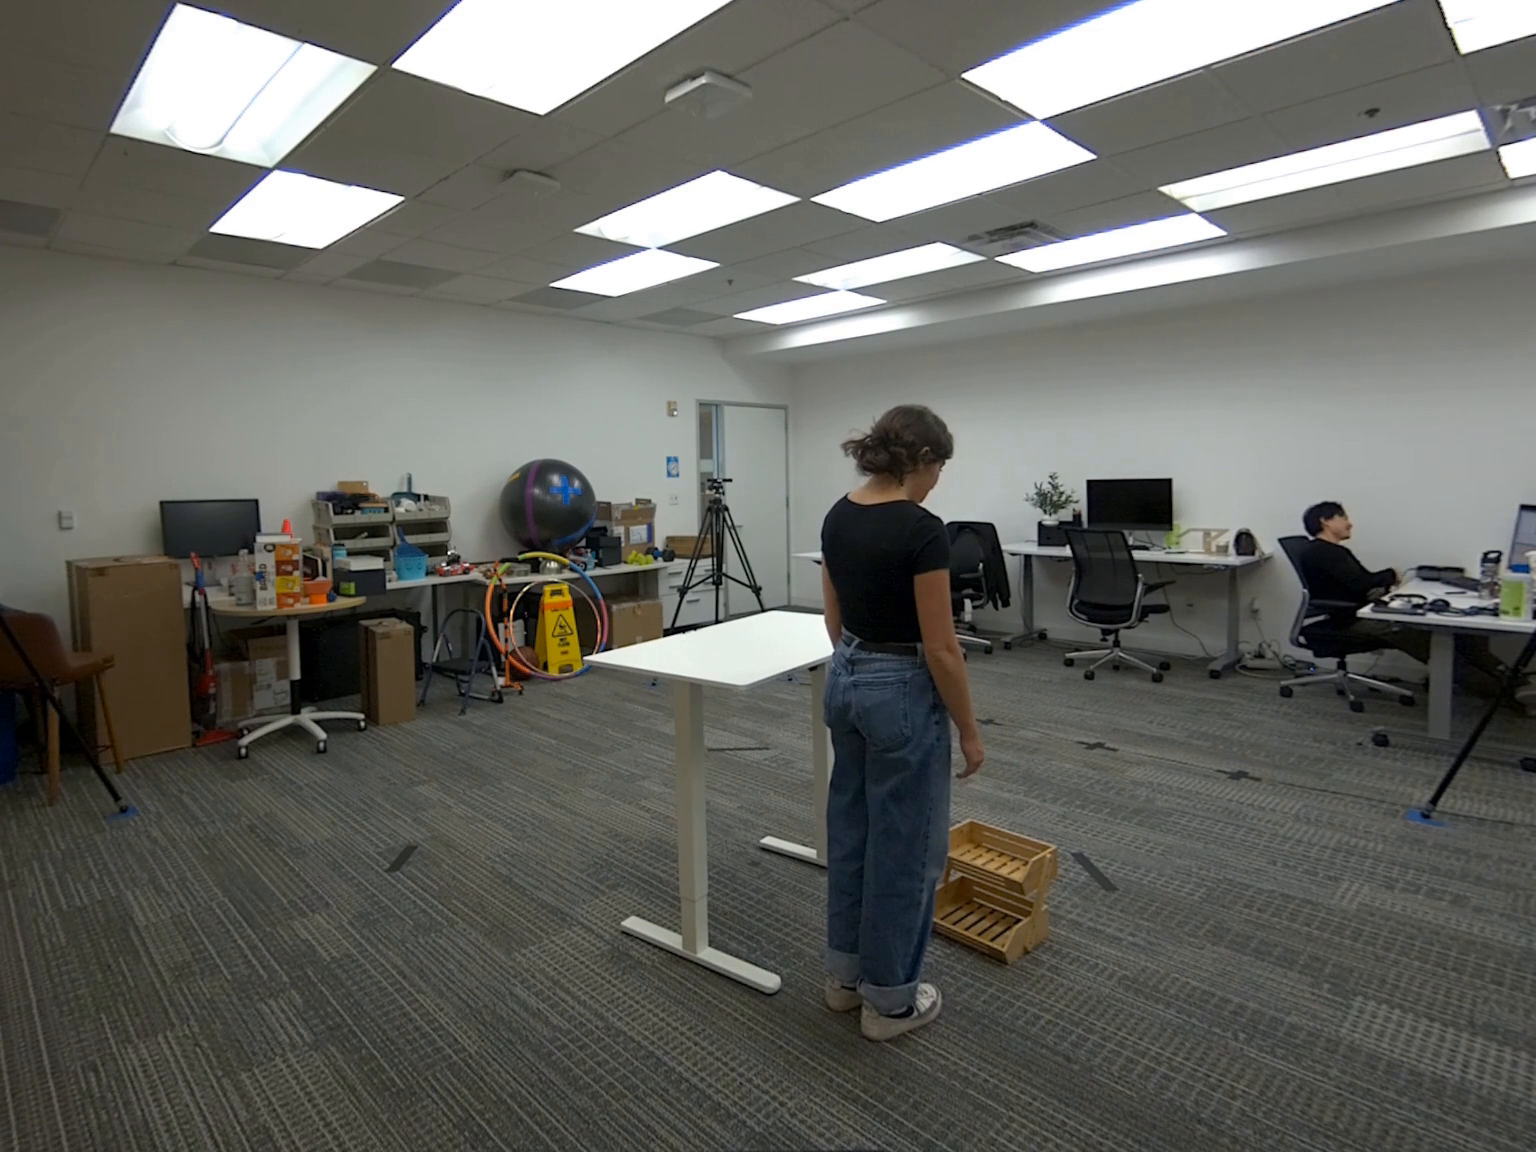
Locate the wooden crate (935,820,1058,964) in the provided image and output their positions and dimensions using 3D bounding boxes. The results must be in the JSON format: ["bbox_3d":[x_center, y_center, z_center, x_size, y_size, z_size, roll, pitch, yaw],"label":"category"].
[{"bbox_3d":[0.680,0.956,2.621,0.294,0.272,0.334,-5,6,-43],"label":"wooden crate"}]
